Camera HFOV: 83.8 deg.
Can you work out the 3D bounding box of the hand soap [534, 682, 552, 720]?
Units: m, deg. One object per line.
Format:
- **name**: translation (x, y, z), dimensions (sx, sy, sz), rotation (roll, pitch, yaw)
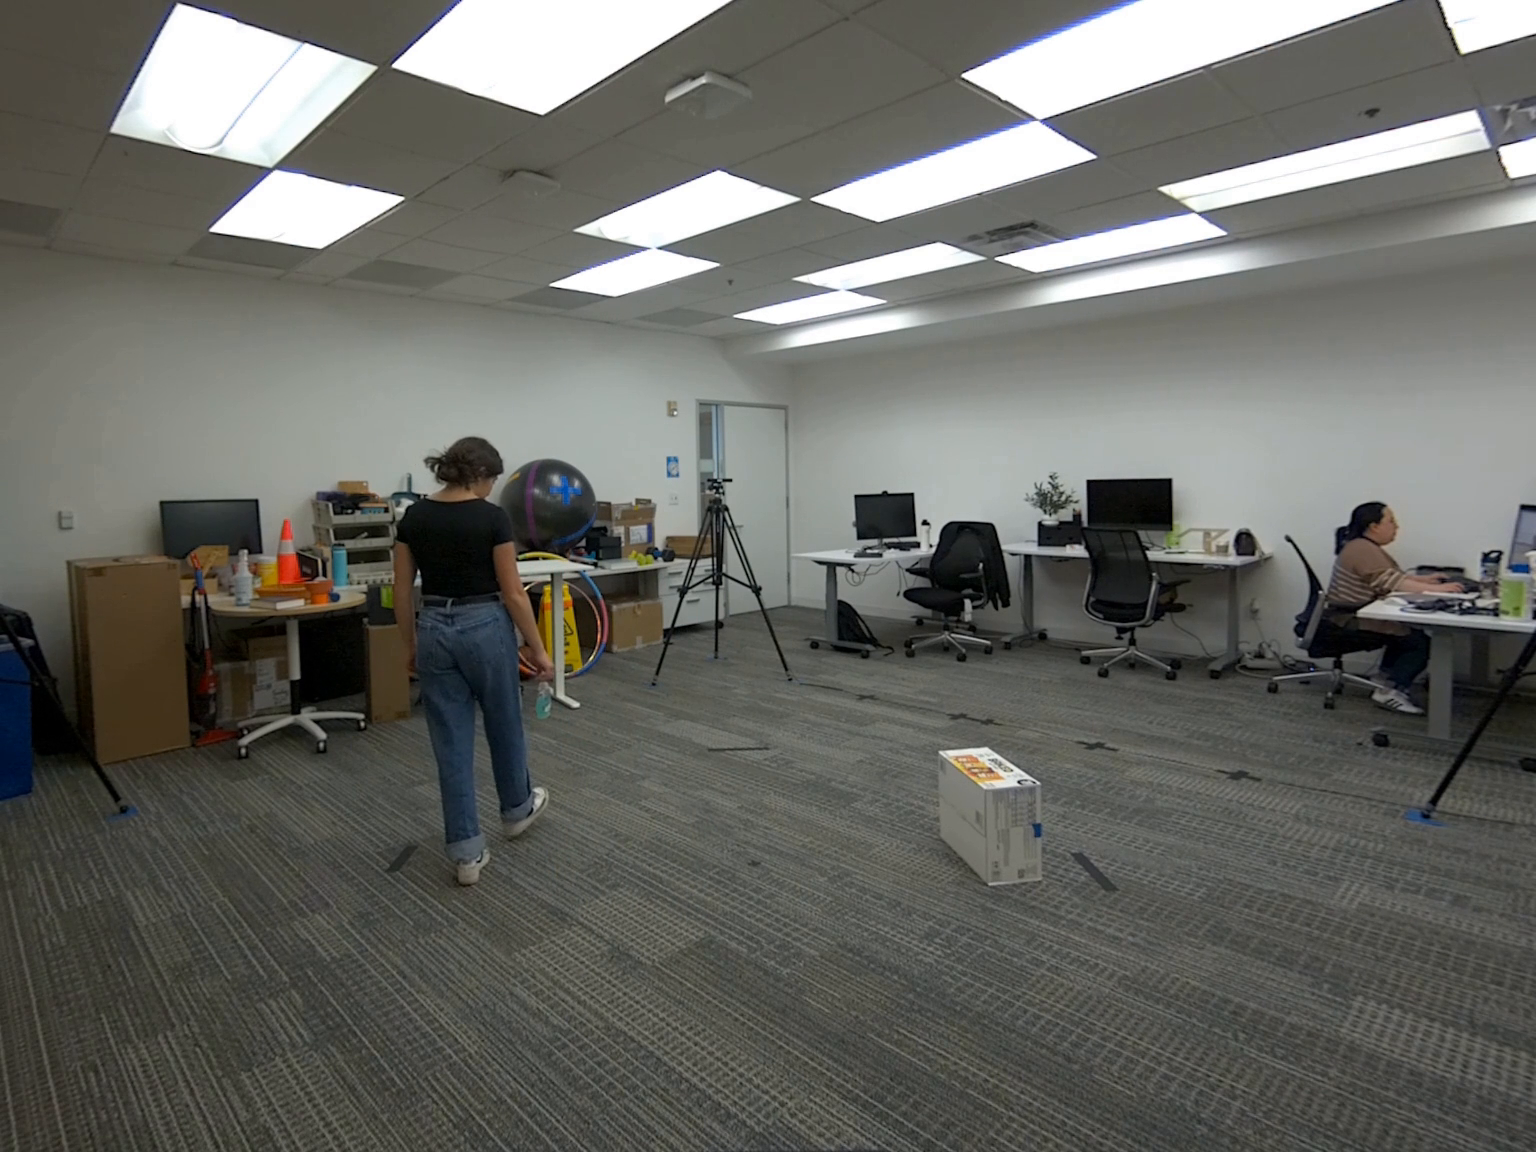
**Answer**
- **hand soap**: translation (-0.848, 0.448, 3.184), dimensions (0.044, 0.167, 0.084), rotation (0, 8, 8)
